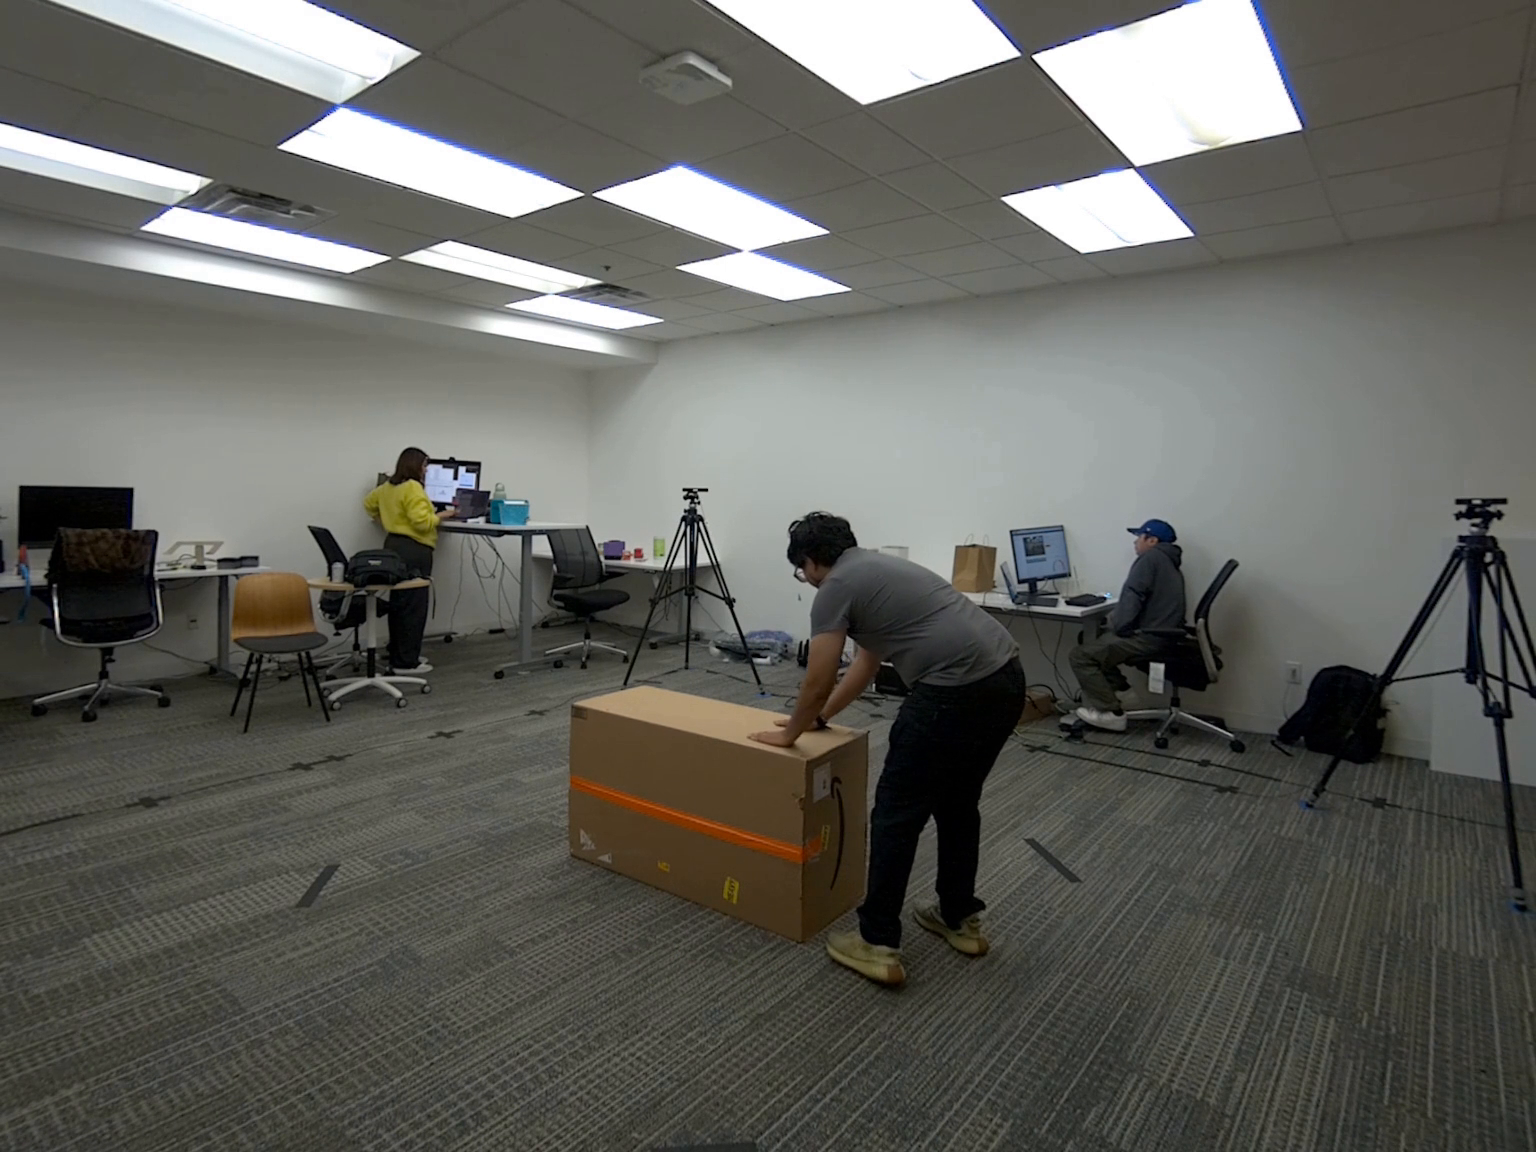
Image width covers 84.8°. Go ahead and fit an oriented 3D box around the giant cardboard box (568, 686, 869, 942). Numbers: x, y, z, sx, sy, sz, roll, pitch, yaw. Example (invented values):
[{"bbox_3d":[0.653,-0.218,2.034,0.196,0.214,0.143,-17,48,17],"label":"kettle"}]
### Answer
[{"bbox_3d":[-0.216,0.785,3.055,1.059,0.575,0.414,5,5,35],"label":"giant cardboard box"}]
